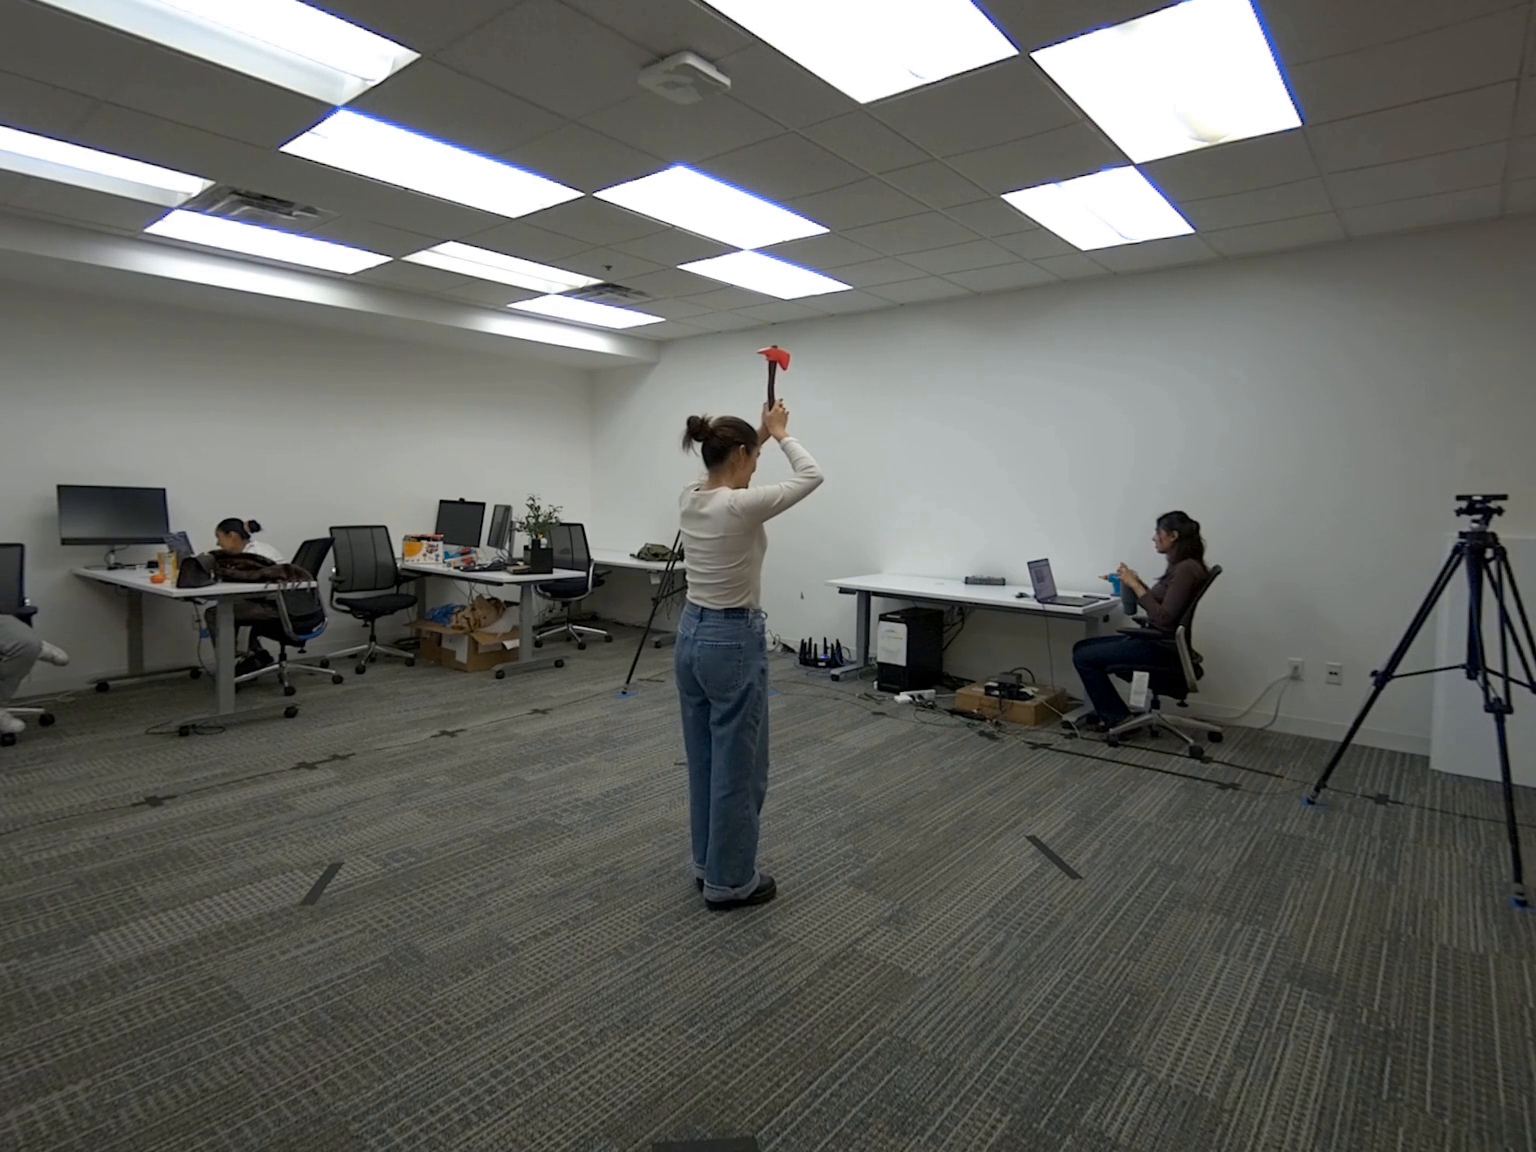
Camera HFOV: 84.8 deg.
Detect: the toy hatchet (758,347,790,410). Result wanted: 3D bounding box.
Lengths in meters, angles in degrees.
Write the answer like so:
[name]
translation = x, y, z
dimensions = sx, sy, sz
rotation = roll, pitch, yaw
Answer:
[toy hatchet]
translation = 0.026, -0.666, 2.931
dimensions = 0.129, 0.265, 0.030
rotation = -21, 18, -28
